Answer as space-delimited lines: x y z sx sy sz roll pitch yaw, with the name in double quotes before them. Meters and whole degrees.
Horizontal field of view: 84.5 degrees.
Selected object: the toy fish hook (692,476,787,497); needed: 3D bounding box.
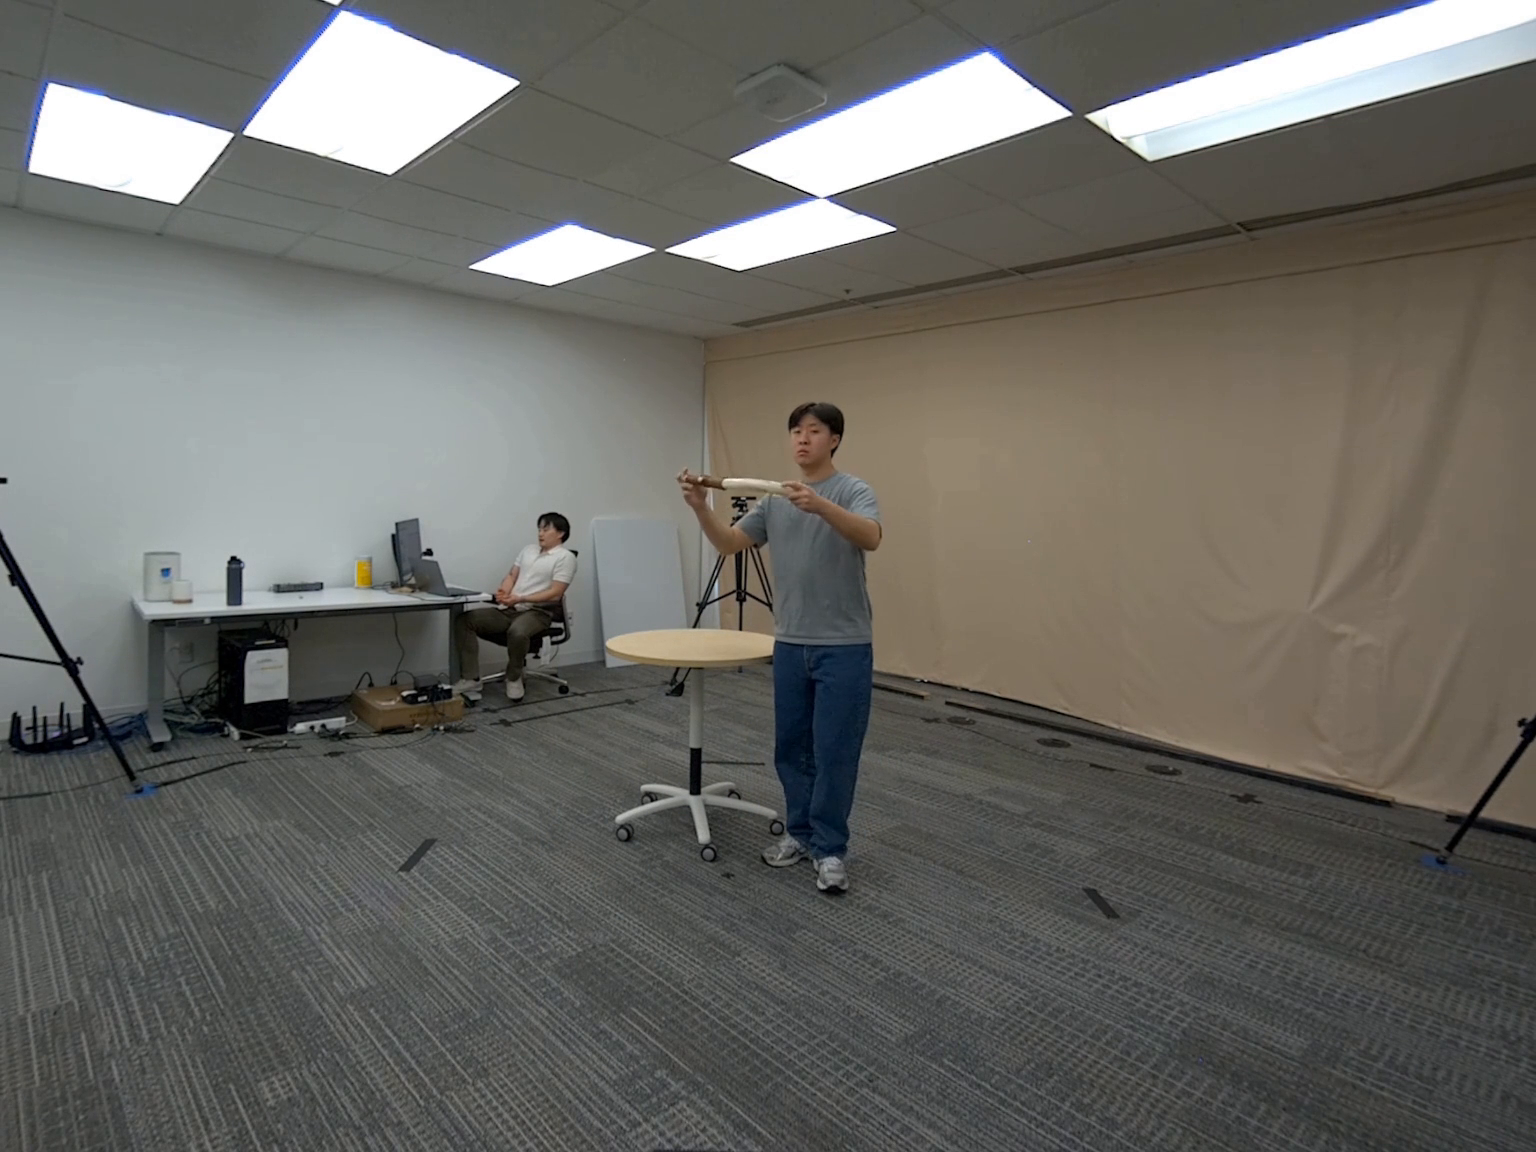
"toy fish hook" -0.078 -0.297 2.914 0.520 0.048 0.218 13 -11 36
